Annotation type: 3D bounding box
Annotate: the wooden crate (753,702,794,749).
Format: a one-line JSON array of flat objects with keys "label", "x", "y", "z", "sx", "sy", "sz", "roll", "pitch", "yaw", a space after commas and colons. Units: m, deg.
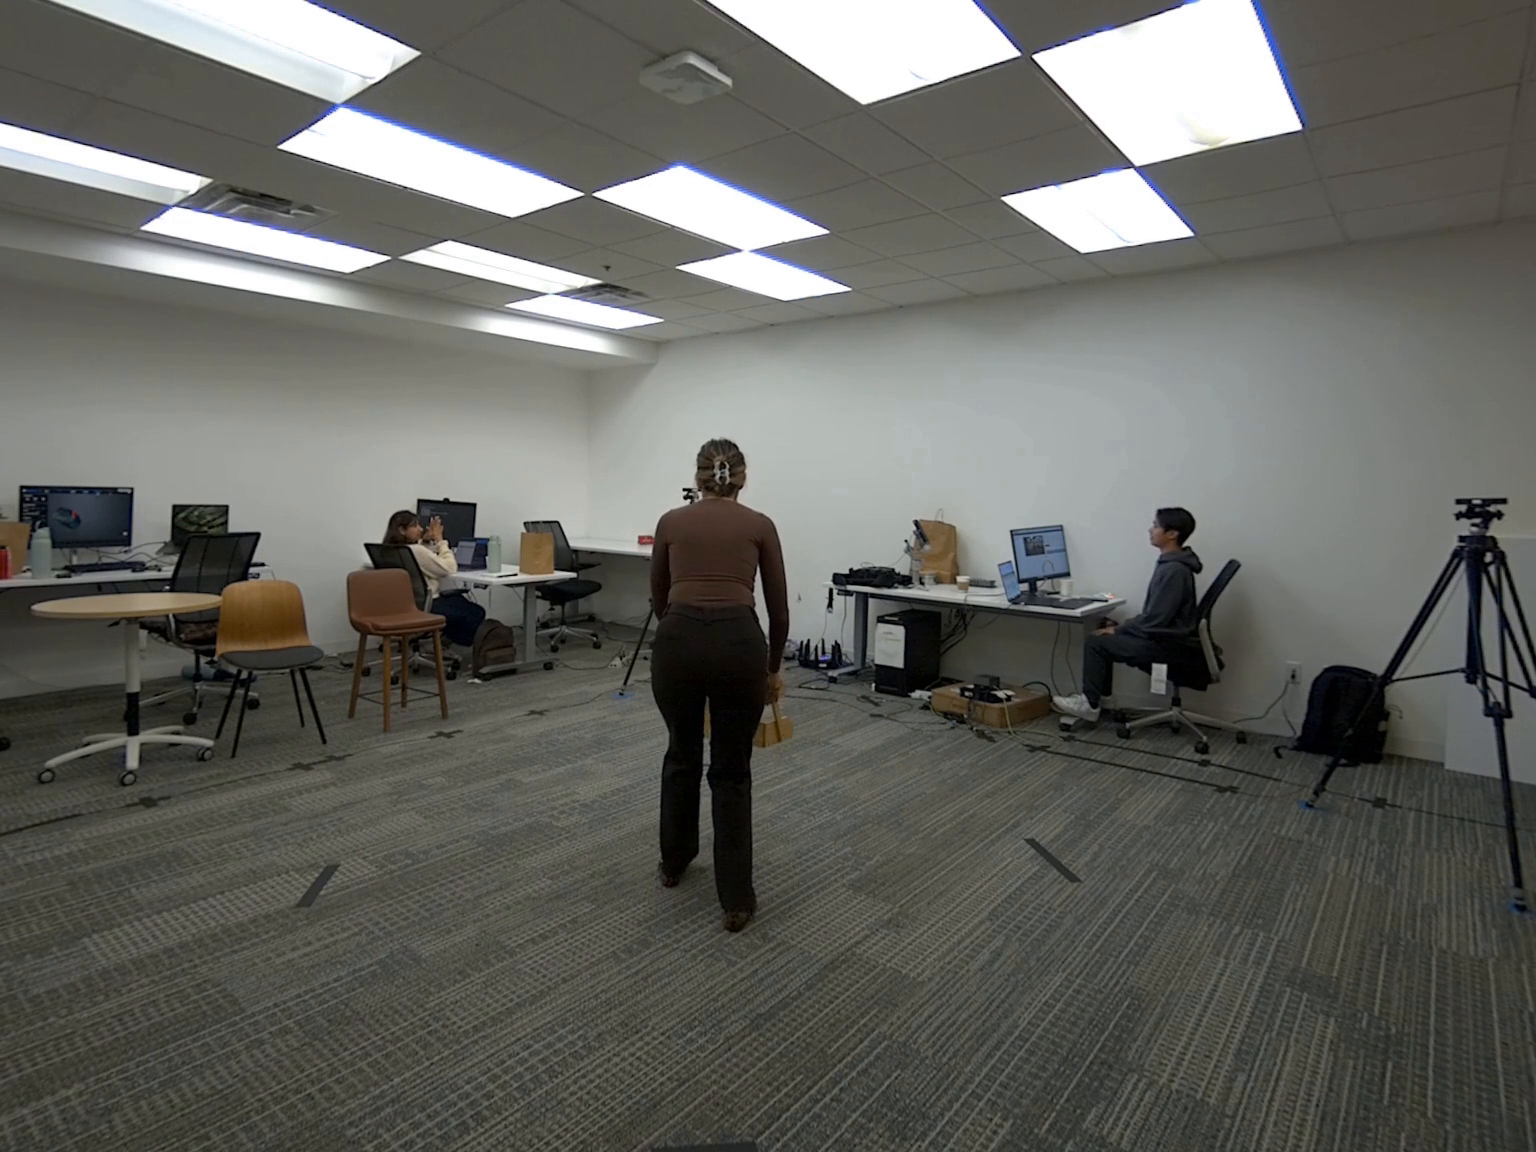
[{"label": "wooden crate", "x": -0.105, "y": 0.493, "z": 3.290, "sx": 0.333, "sy": 0.273, "sz": 0.293, "roll": 2, "pitch": 0, "yaw": 28}]
